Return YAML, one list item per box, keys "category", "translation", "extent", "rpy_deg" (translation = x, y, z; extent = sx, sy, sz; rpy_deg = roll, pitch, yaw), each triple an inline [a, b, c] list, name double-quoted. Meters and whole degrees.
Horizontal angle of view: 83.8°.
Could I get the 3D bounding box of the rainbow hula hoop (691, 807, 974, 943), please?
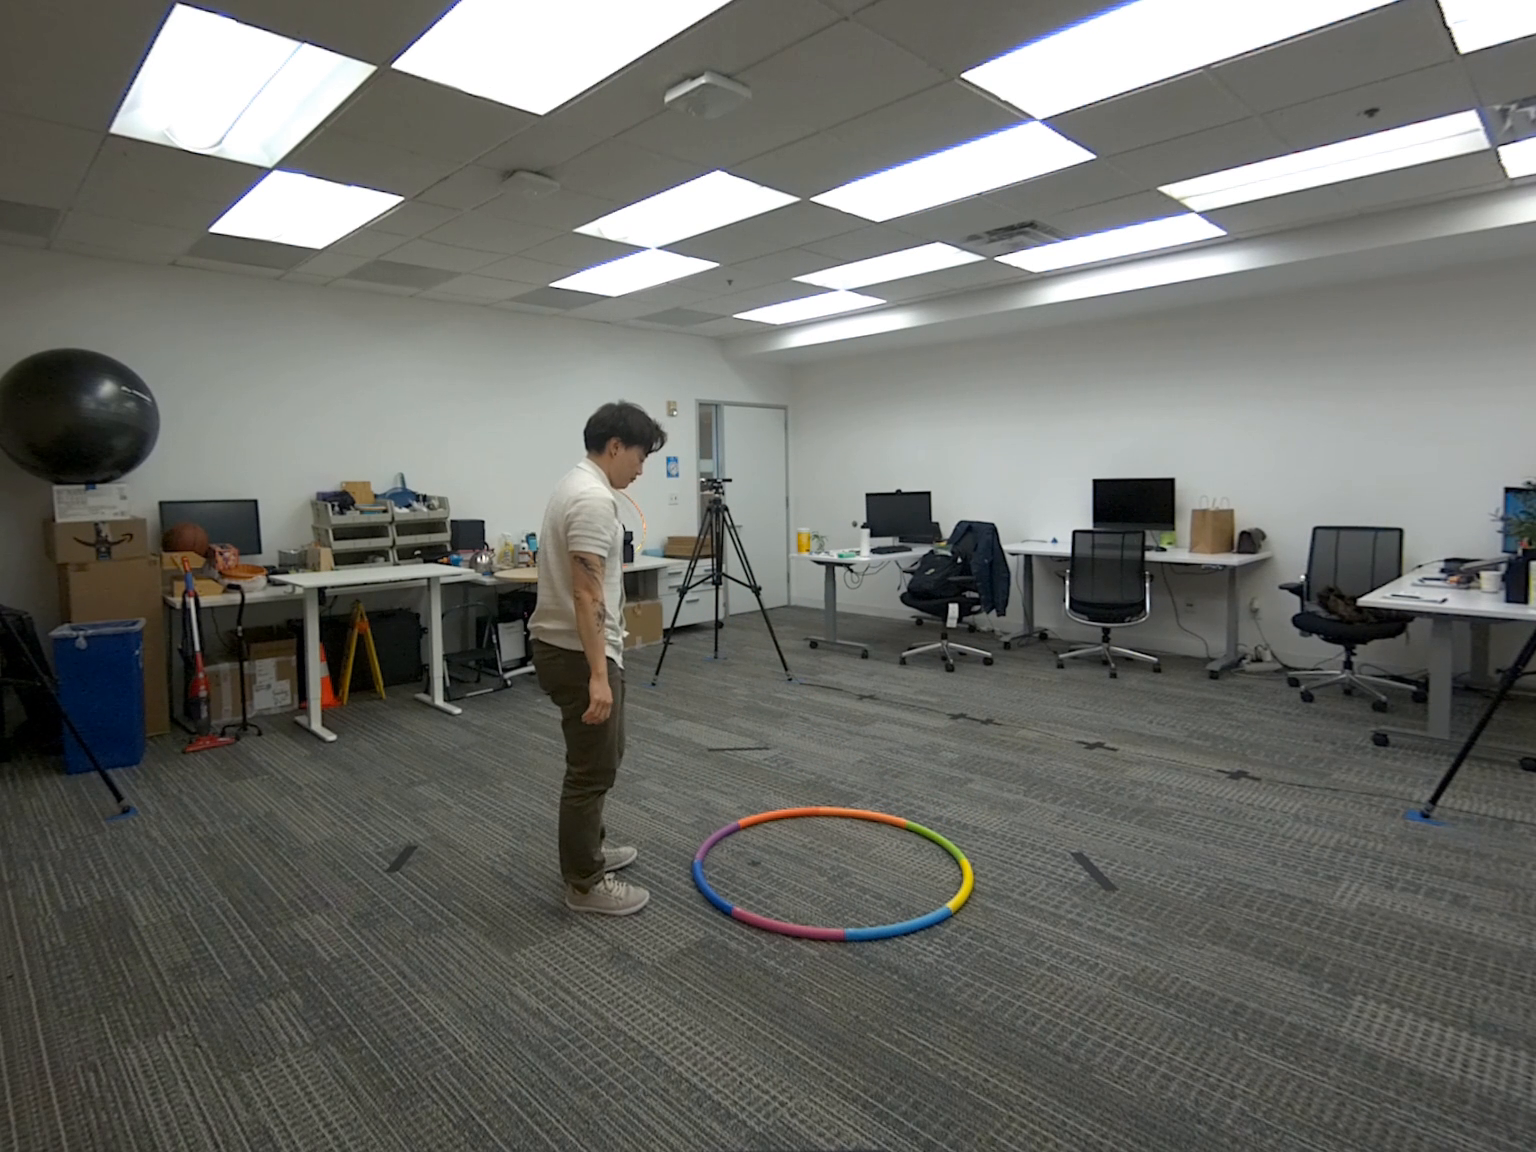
- category: "rainbow hula hoop"
  translation: [0.220, 1.014, 3.057]
  extent: [0.978, 0.035, 0.984]
  rpy_deg: [-2, 7, -1]
